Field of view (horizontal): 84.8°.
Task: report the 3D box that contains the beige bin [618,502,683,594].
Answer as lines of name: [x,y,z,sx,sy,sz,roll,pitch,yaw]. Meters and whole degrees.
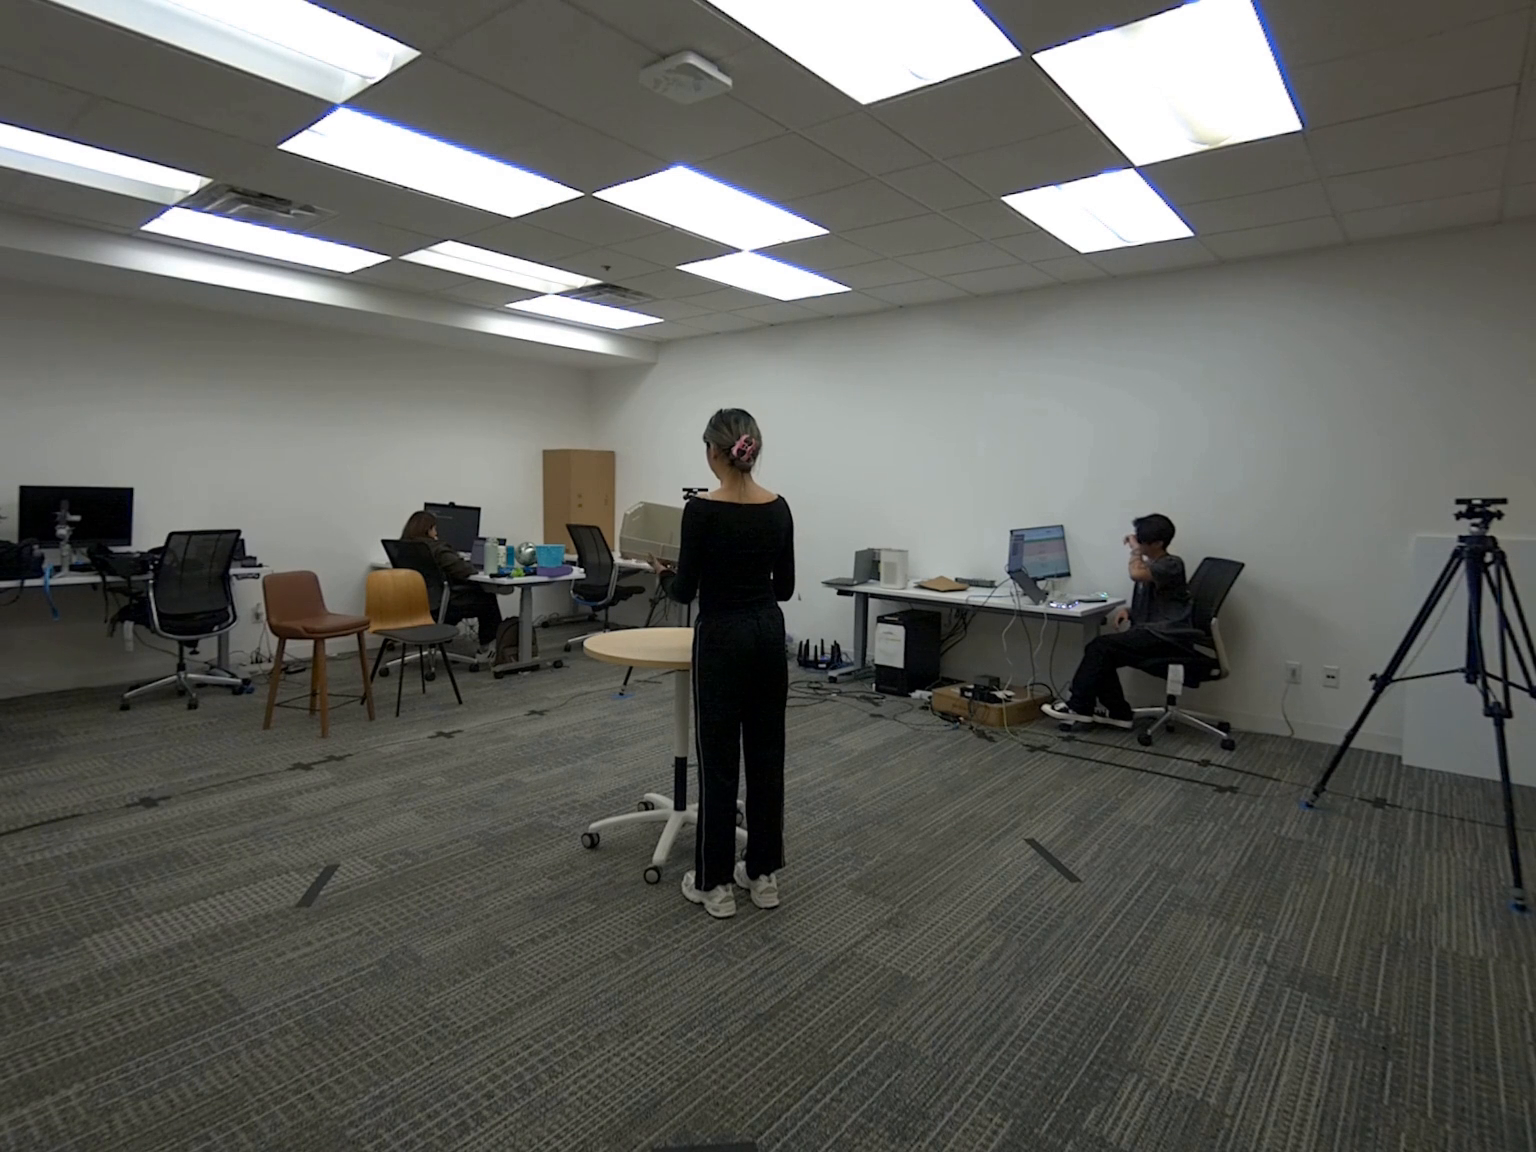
beige bin: [-0.330,-0.136,3.171,0.423,0.187,0.380,10,12,1]
